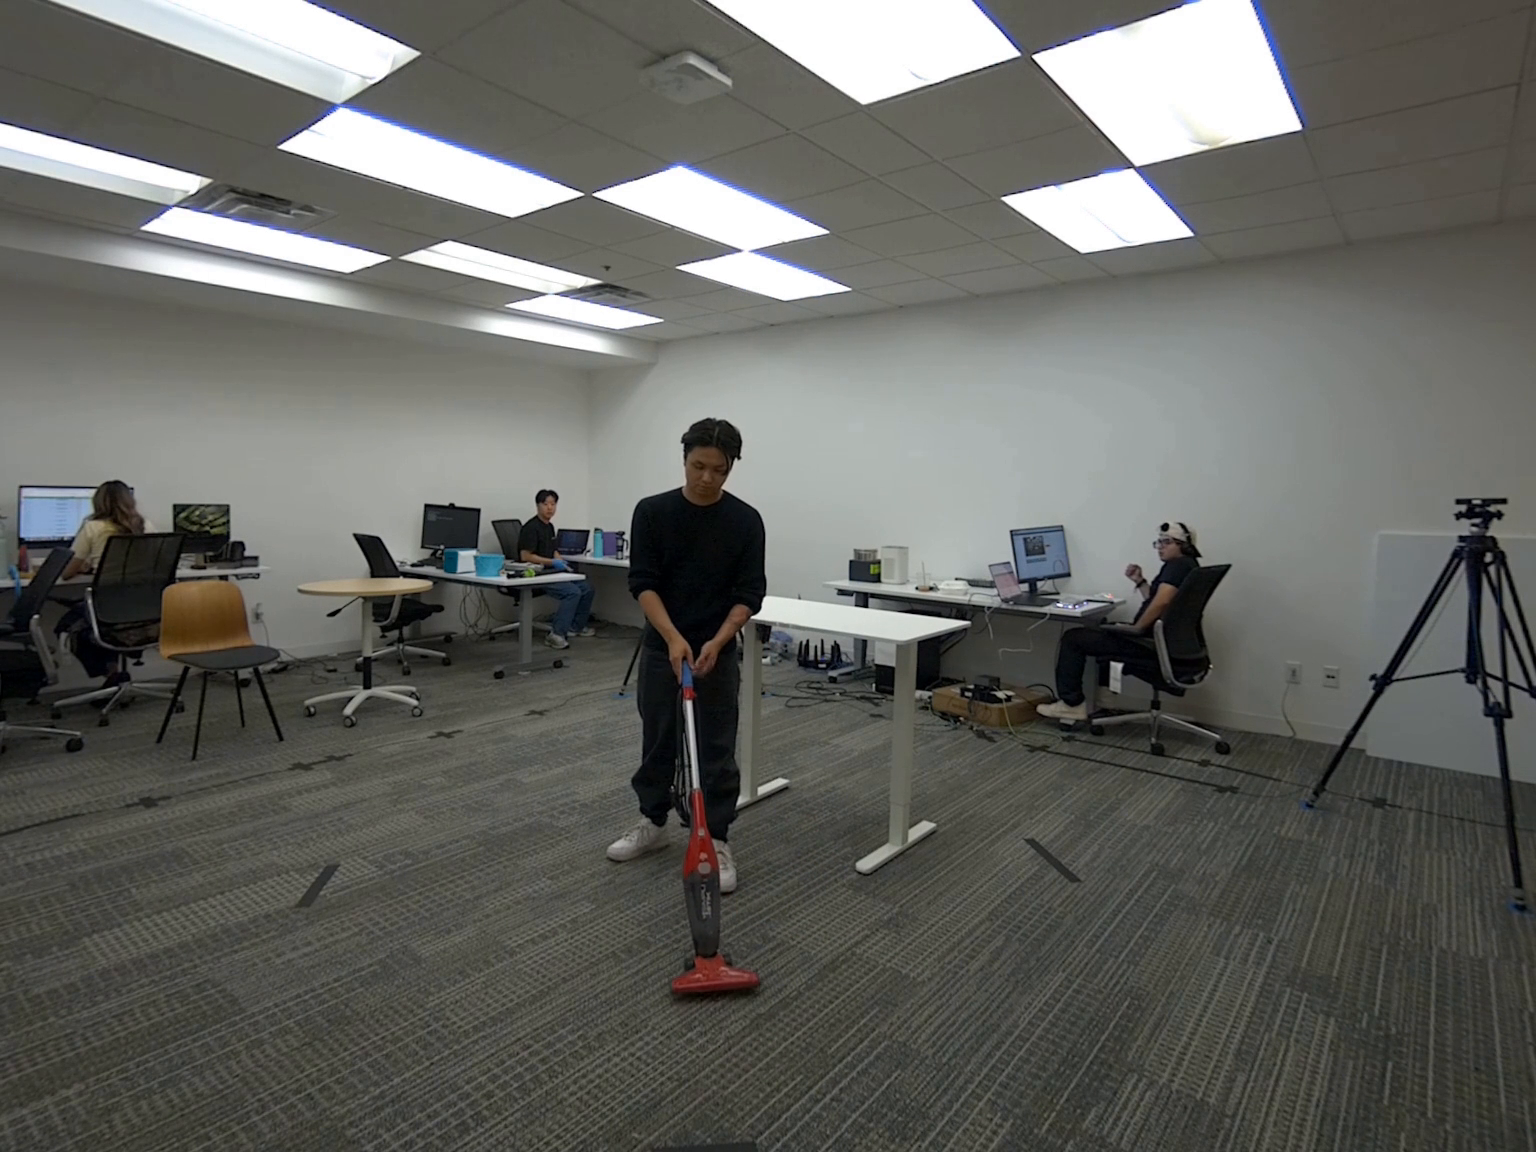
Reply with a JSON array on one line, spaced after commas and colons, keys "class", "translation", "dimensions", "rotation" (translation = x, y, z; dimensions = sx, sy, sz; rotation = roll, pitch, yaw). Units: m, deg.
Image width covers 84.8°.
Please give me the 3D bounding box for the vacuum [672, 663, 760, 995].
[{"class": "vacuum", "translation": [-0.231, 0.691, 2.666], "dimensions": [0.248, 1.082, 0.142], "rotation": [3, -36, -18]}]
